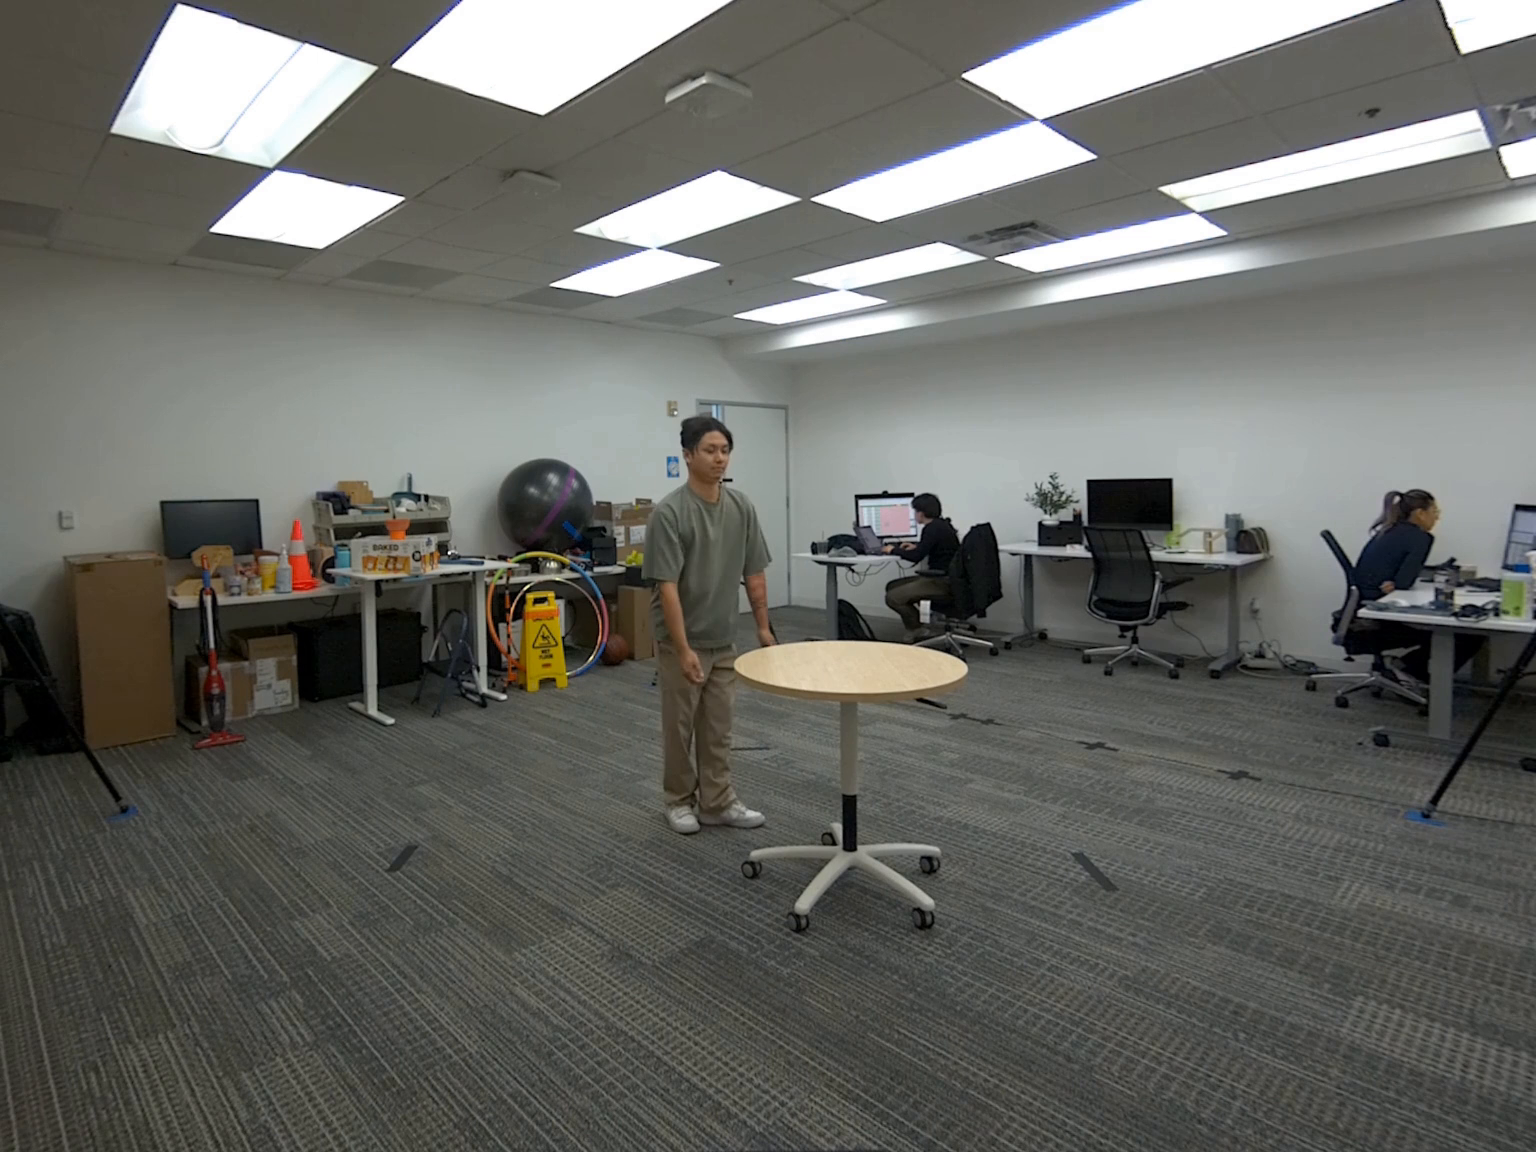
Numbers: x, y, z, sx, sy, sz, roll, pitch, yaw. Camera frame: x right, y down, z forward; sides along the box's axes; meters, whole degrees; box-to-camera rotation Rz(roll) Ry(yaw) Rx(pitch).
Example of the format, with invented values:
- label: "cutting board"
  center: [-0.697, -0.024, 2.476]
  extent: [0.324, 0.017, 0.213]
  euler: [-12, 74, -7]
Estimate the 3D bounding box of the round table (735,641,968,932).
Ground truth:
- label: "round table"
  center: [0.262, 0.677, 2.866]
  extent: [0.784, 0.783, 0.789]
  euler: [-1, 5, -2]
